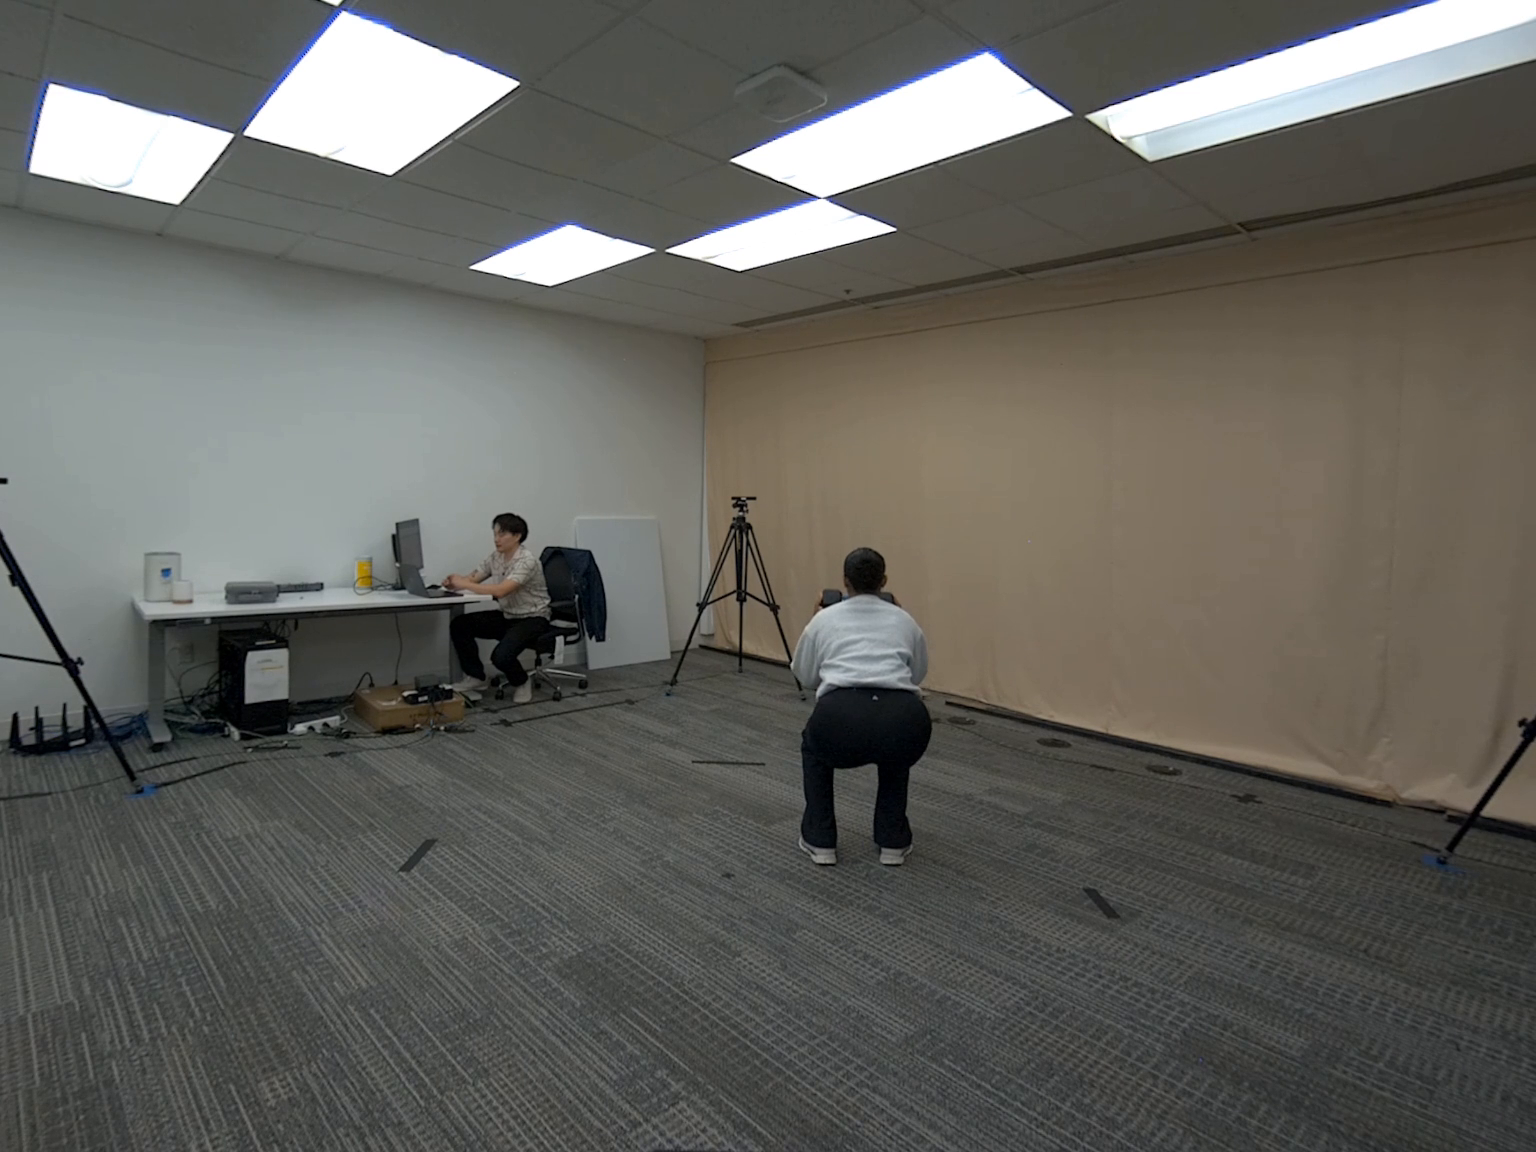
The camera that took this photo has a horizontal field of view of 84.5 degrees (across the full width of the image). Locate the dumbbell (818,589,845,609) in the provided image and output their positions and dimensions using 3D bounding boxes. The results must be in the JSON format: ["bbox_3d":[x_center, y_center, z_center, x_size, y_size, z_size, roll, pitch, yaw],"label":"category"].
[{"bbox_3d":[0.372,0.107,3.507,0.294,0.120,0.111,0,35,2],"label":"dumbbell"}]
